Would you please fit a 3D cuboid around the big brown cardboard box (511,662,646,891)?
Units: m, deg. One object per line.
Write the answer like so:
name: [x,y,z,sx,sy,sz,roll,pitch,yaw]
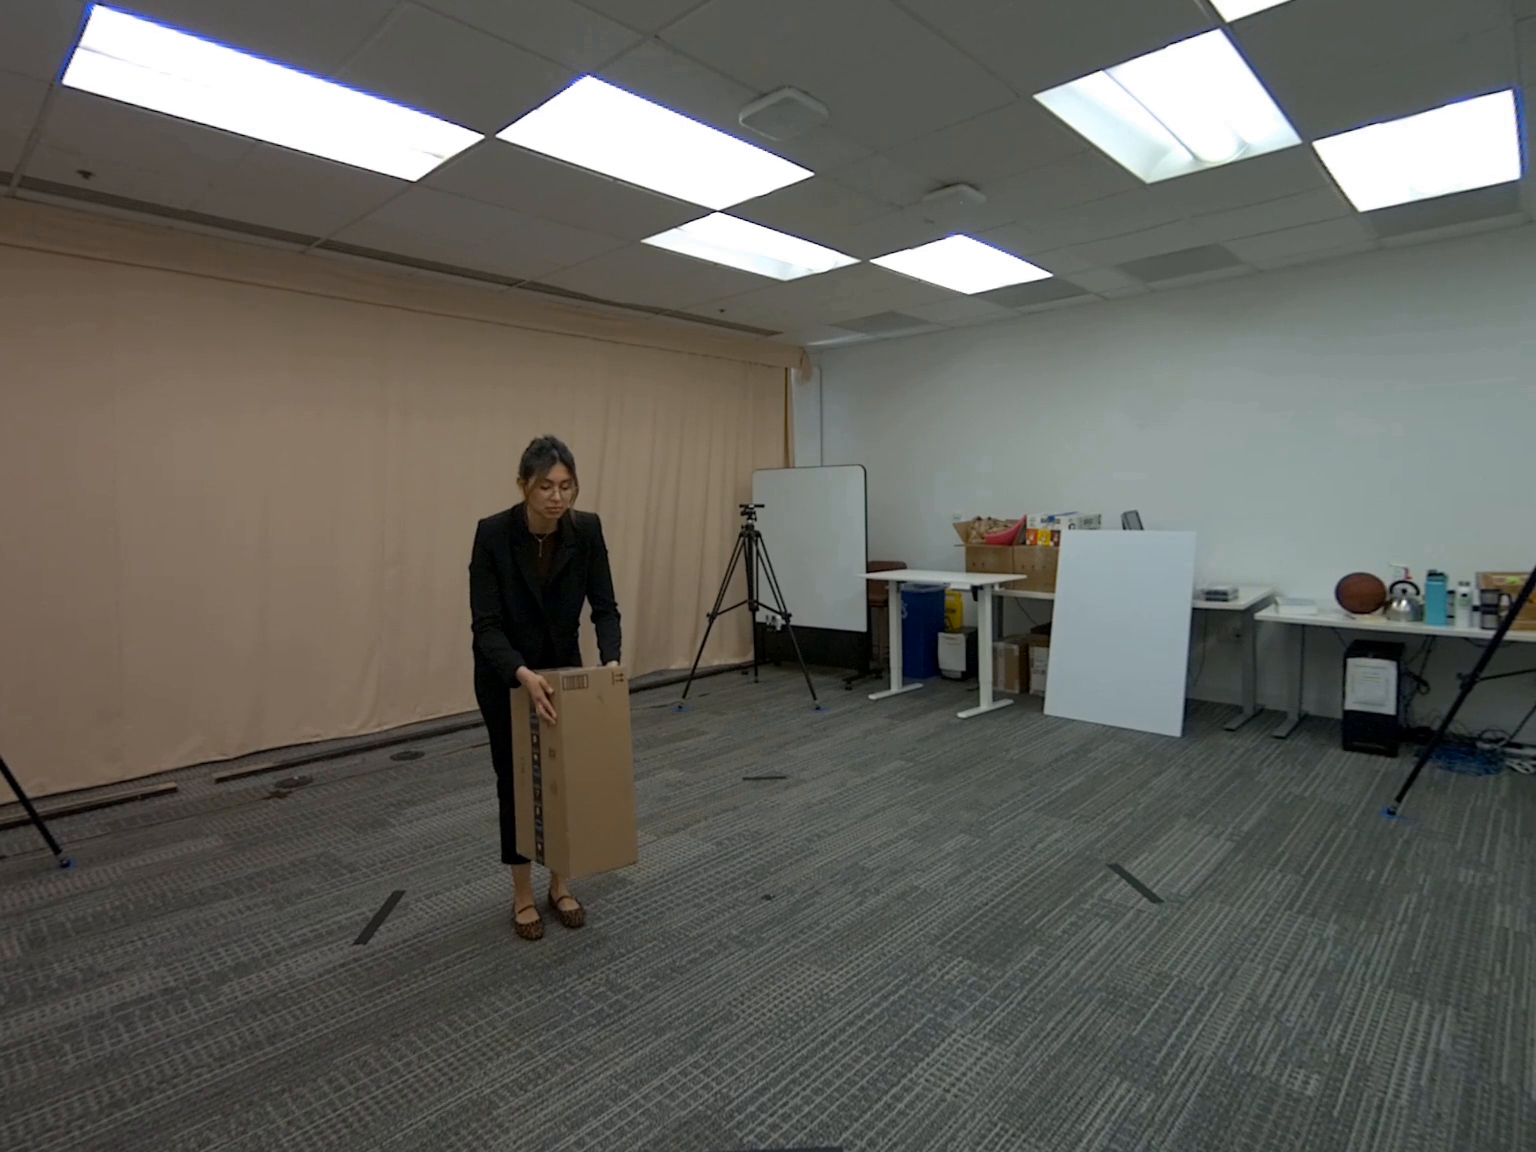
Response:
big brown cardboard box: [-0.592,0.569,2.555,0.226,0.591,0.429,-1,-5,-35]
